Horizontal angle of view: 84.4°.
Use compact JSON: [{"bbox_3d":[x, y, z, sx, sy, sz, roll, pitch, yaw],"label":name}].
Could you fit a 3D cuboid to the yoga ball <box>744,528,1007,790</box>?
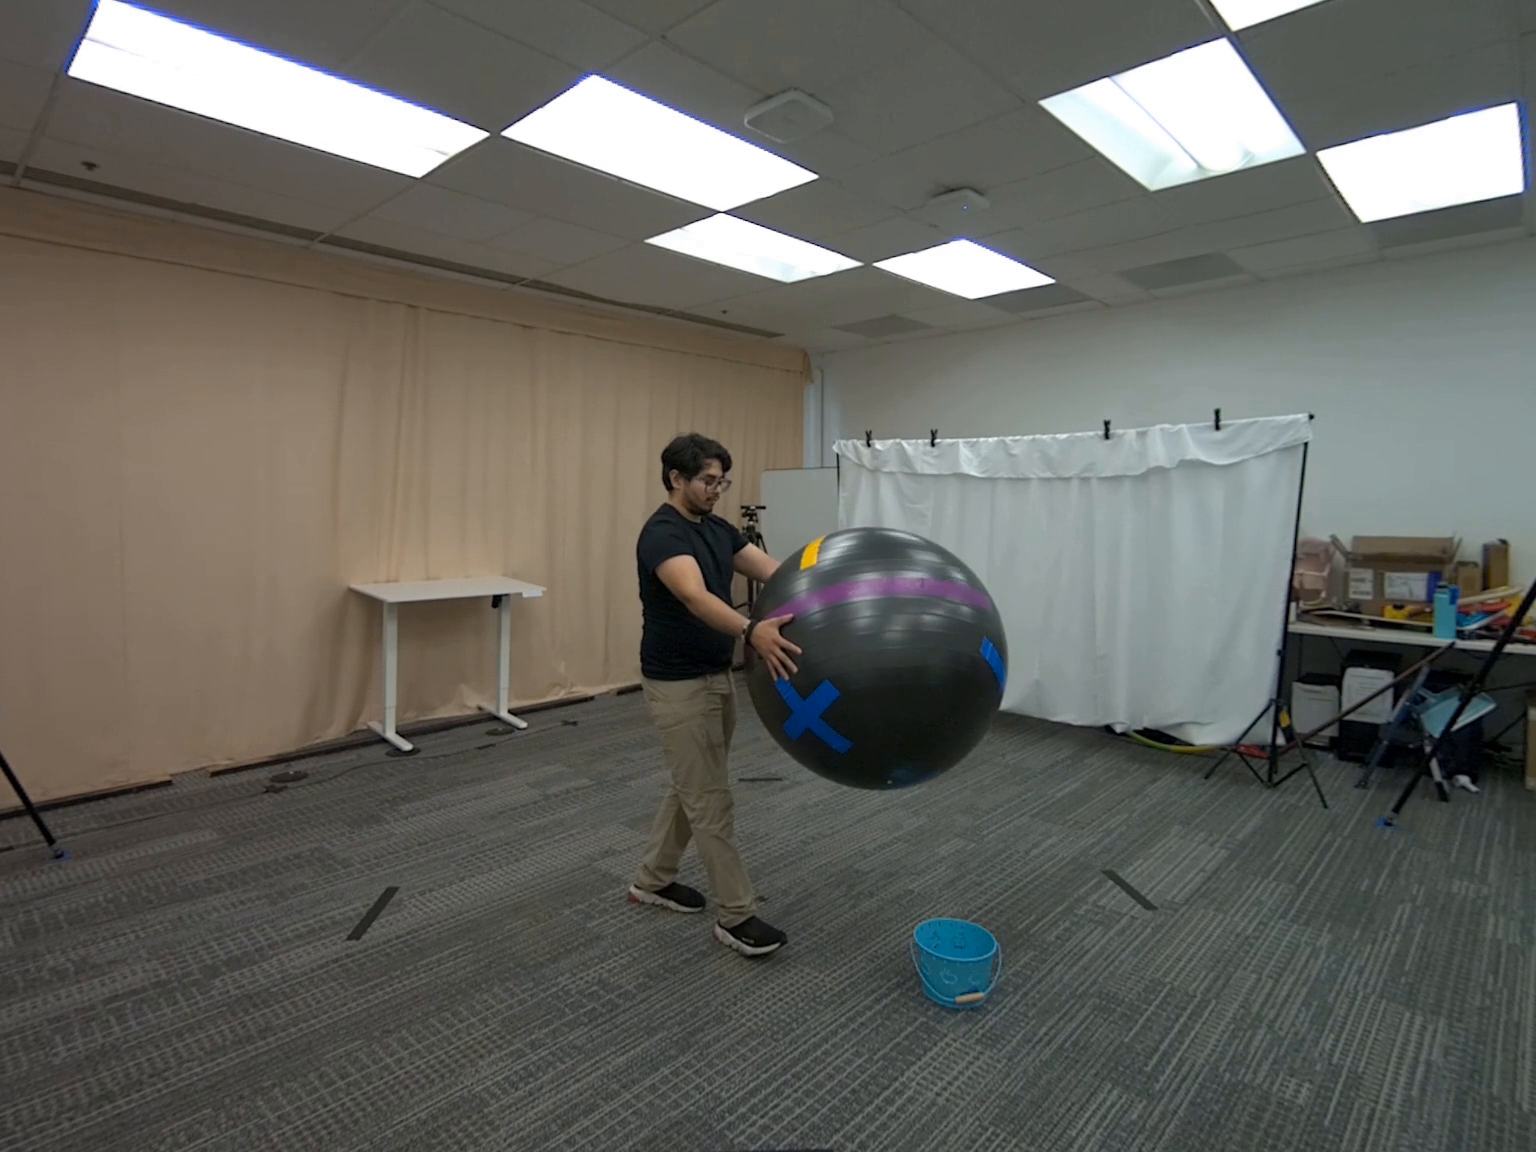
[{"bbox_3d":[0.309,0.246,2.476,0.757,0.756,0.760,0,4,-2],"label":"yoga ball"}]
